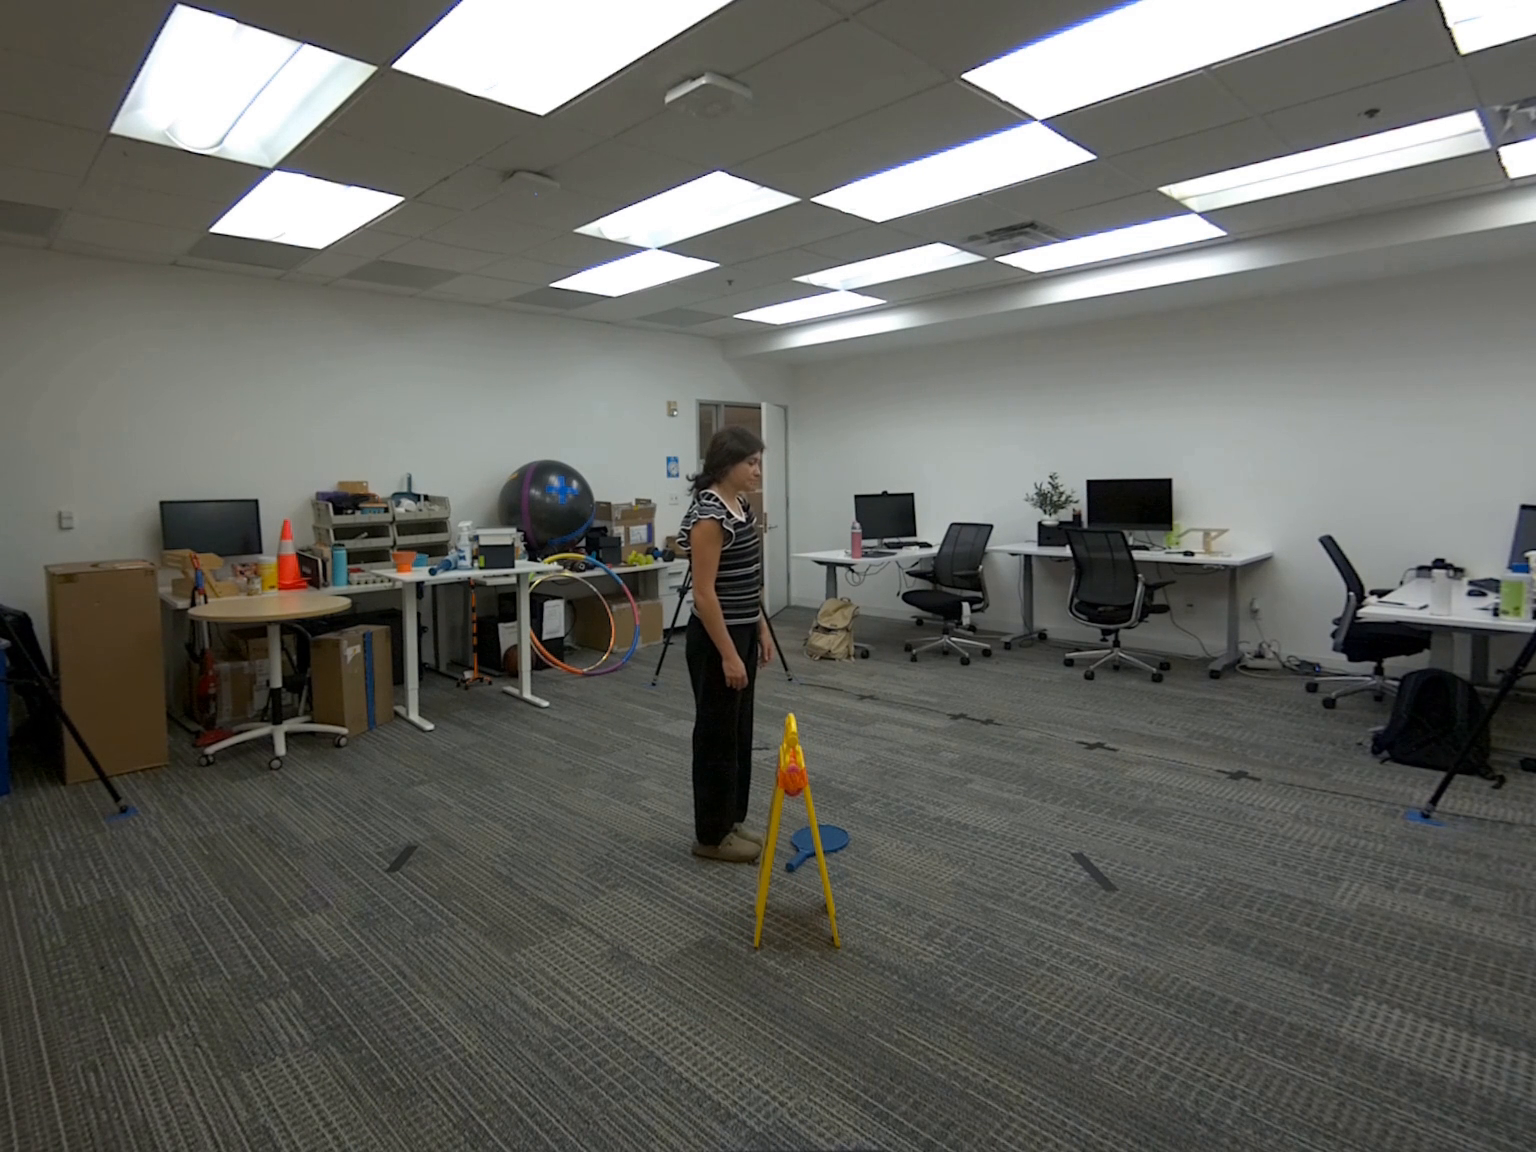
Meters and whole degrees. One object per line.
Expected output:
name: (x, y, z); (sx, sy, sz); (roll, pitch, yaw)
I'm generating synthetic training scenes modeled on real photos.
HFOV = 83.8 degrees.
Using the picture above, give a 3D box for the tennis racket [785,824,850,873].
tennis racket: (0.165, 1.005, 3.214); (0.219, 0.031, 0.424); (2, 5, 24)
